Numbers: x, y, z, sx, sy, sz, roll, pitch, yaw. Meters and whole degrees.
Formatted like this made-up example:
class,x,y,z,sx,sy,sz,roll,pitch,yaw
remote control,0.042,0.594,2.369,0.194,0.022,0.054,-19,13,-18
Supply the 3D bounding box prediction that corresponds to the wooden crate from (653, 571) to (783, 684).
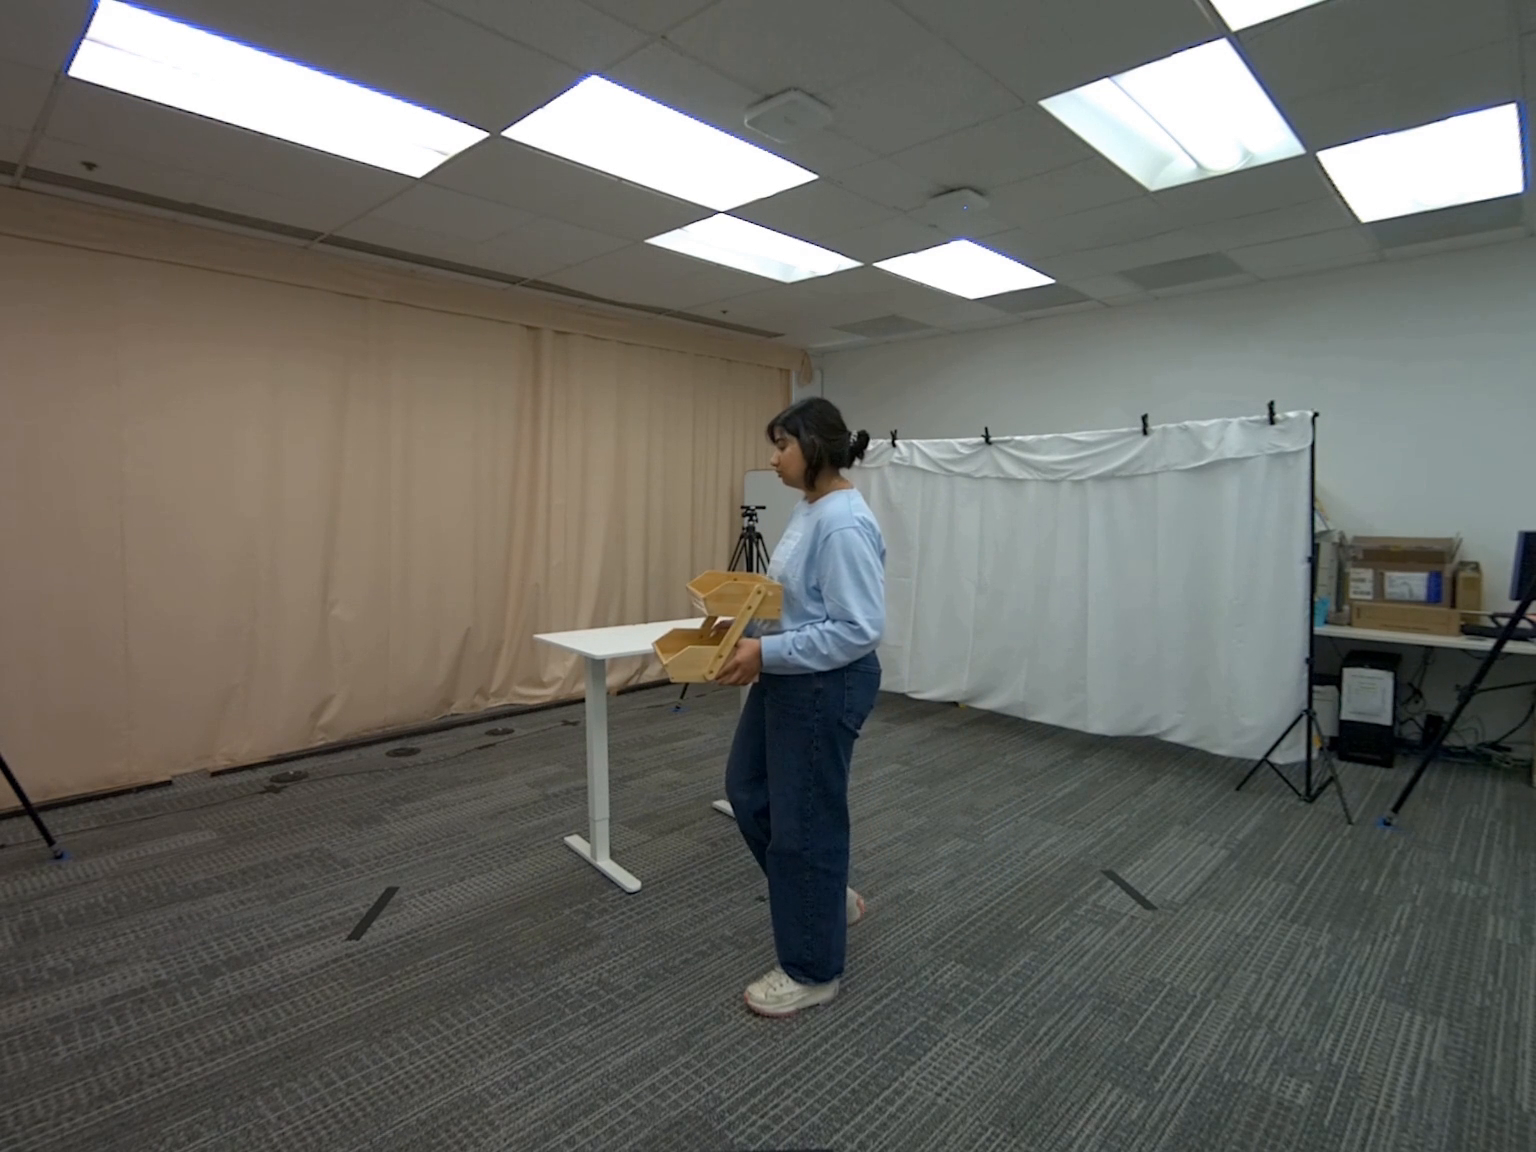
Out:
class,x,y,z,sx,sy,sz,roll,pitch,yaw
wooden crate,-0.157,0.125,2.314,0.299,0.273,0.328,4,3,-9
